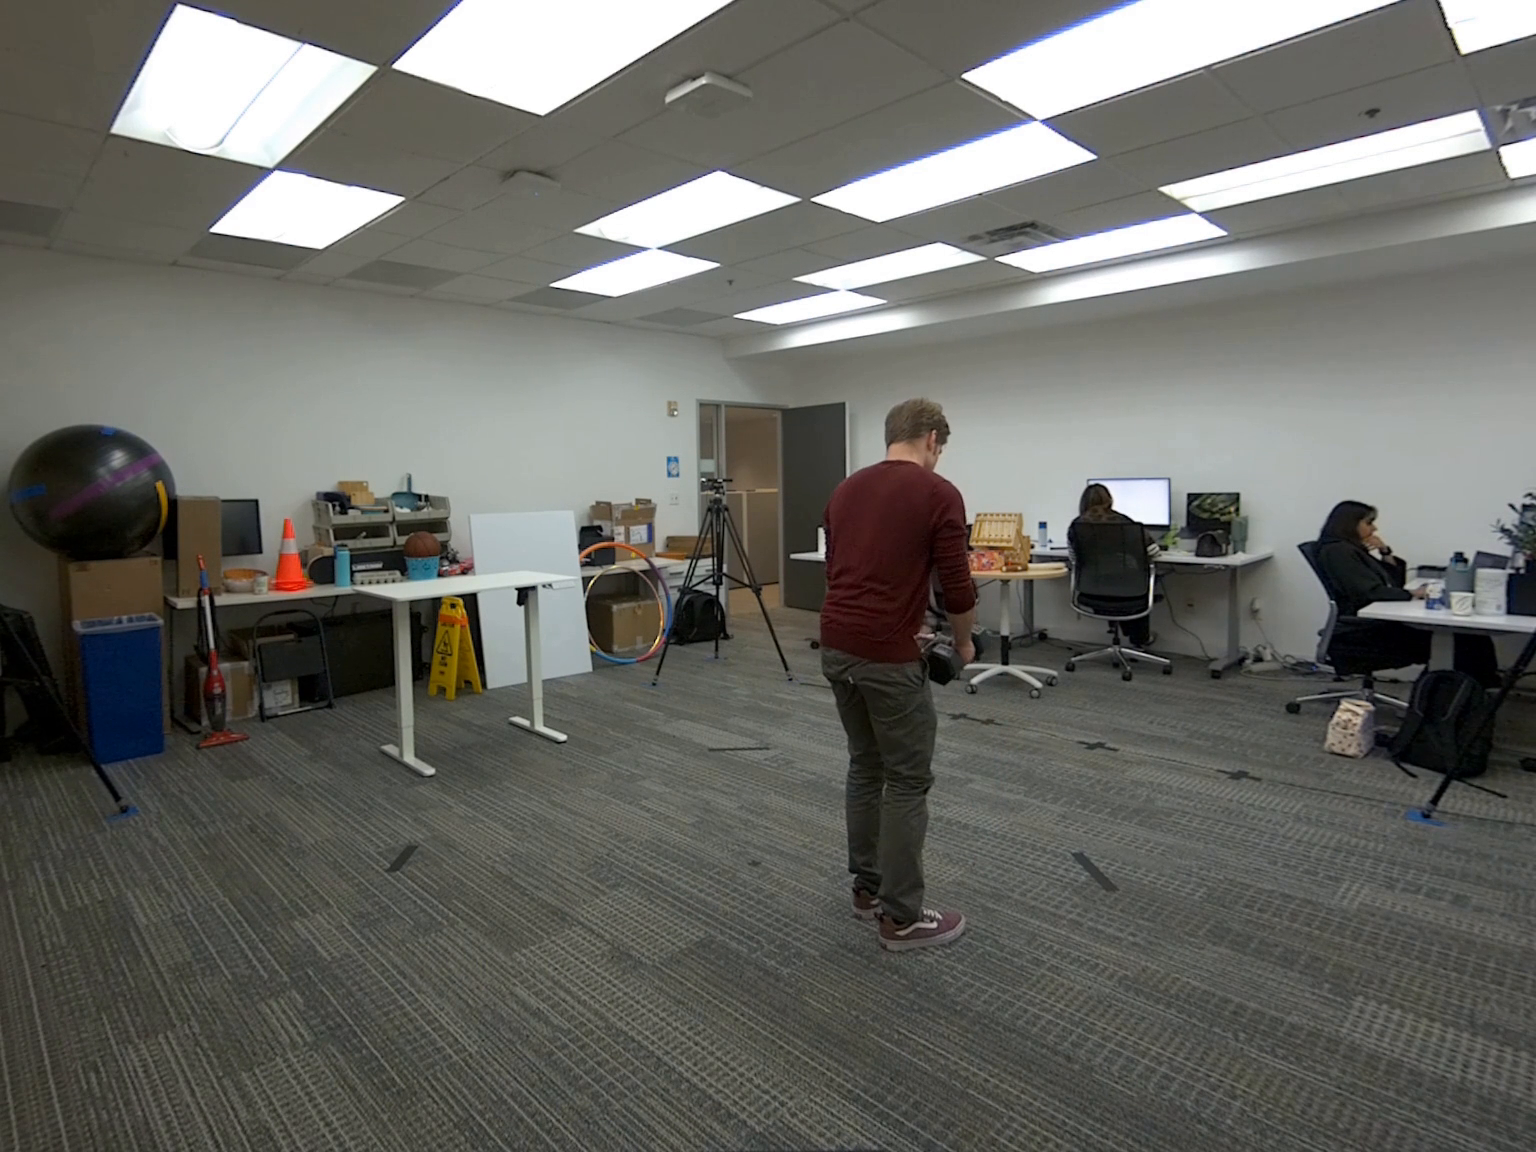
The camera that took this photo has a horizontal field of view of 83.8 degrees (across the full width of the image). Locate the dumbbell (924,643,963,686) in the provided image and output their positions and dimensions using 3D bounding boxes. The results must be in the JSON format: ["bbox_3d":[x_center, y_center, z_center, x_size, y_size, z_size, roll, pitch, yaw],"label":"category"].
[{"bbox_3d":[0.617,0.263,2.794,0.288,0.111,0.122,-23,-23,-47],"label":"dumbbell"}]
